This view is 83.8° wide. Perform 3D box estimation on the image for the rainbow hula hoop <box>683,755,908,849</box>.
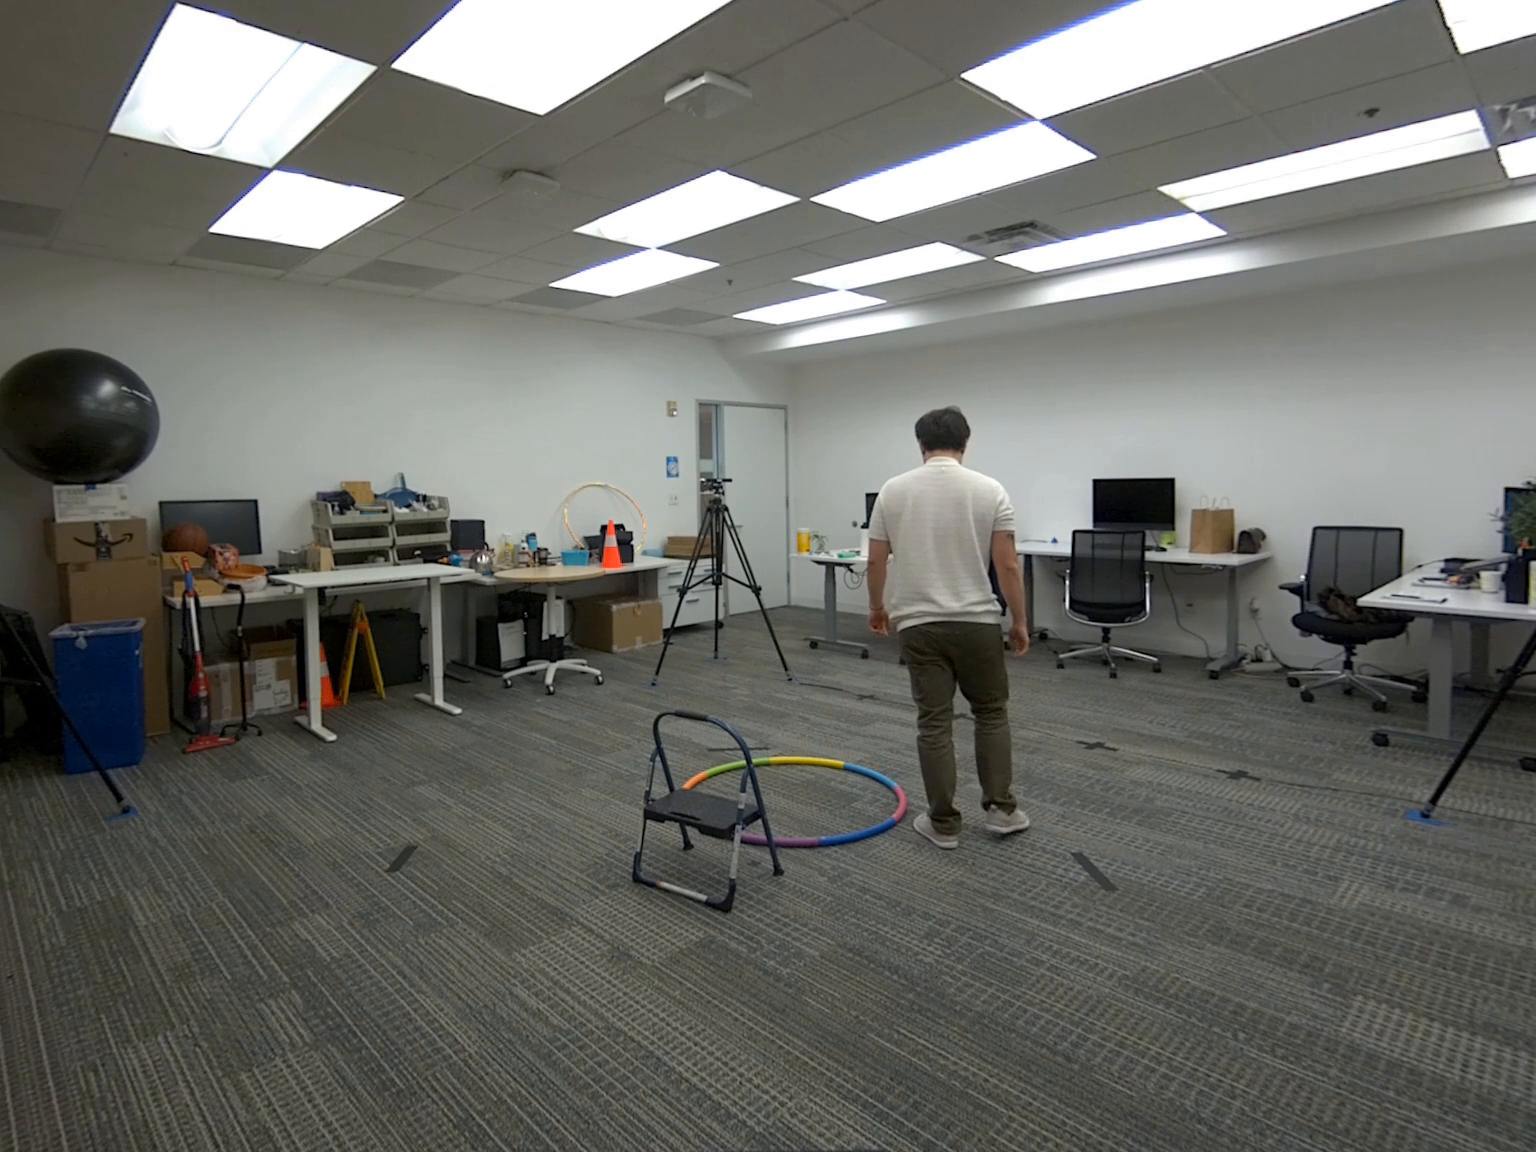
[{"bbox_3d":[0.100,0.940,3.708,0.978,0.035,0.984,-1,6,-2],"label":"rainbow hula hoop"}]
